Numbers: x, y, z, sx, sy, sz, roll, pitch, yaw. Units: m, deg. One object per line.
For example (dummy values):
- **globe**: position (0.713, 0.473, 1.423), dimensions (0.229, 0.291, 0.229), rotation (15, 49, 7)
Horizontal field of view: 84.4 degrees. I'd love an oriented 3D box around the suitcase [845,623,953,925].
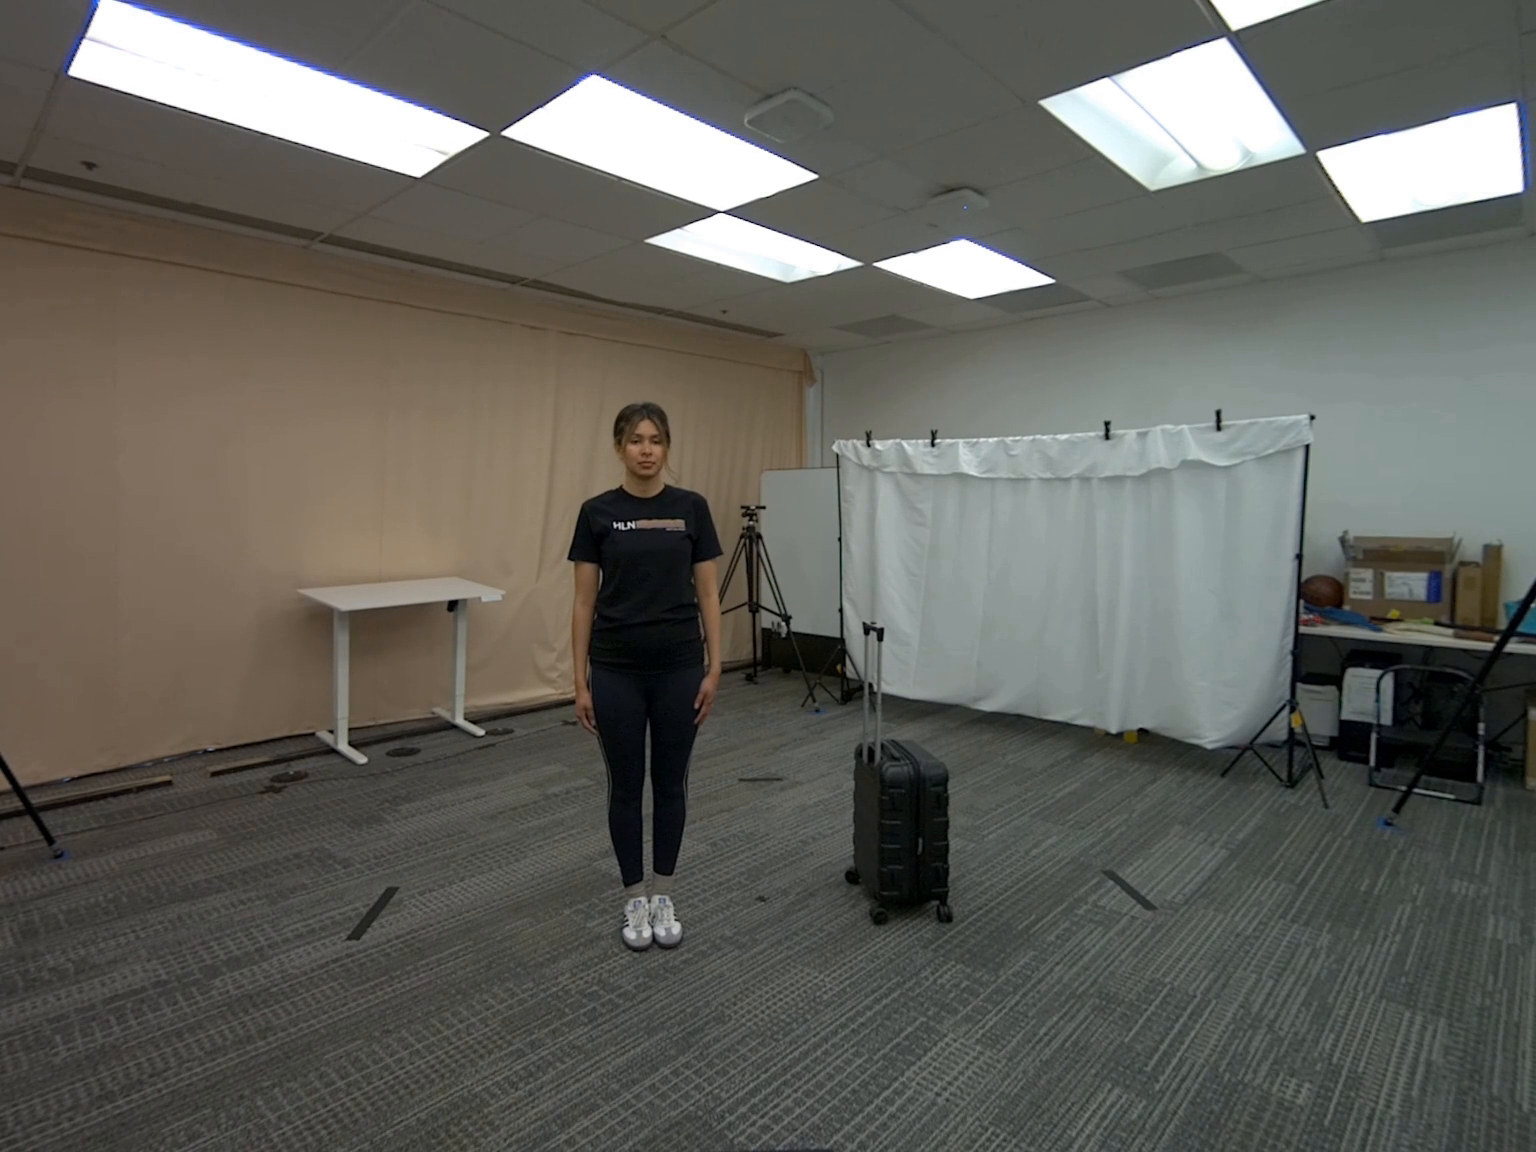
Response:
- **suitcase**: position (0.467, 0.662, 2.945), dimensions (0.255, 0.976, 0.387), rotation (0, 3, -7)
